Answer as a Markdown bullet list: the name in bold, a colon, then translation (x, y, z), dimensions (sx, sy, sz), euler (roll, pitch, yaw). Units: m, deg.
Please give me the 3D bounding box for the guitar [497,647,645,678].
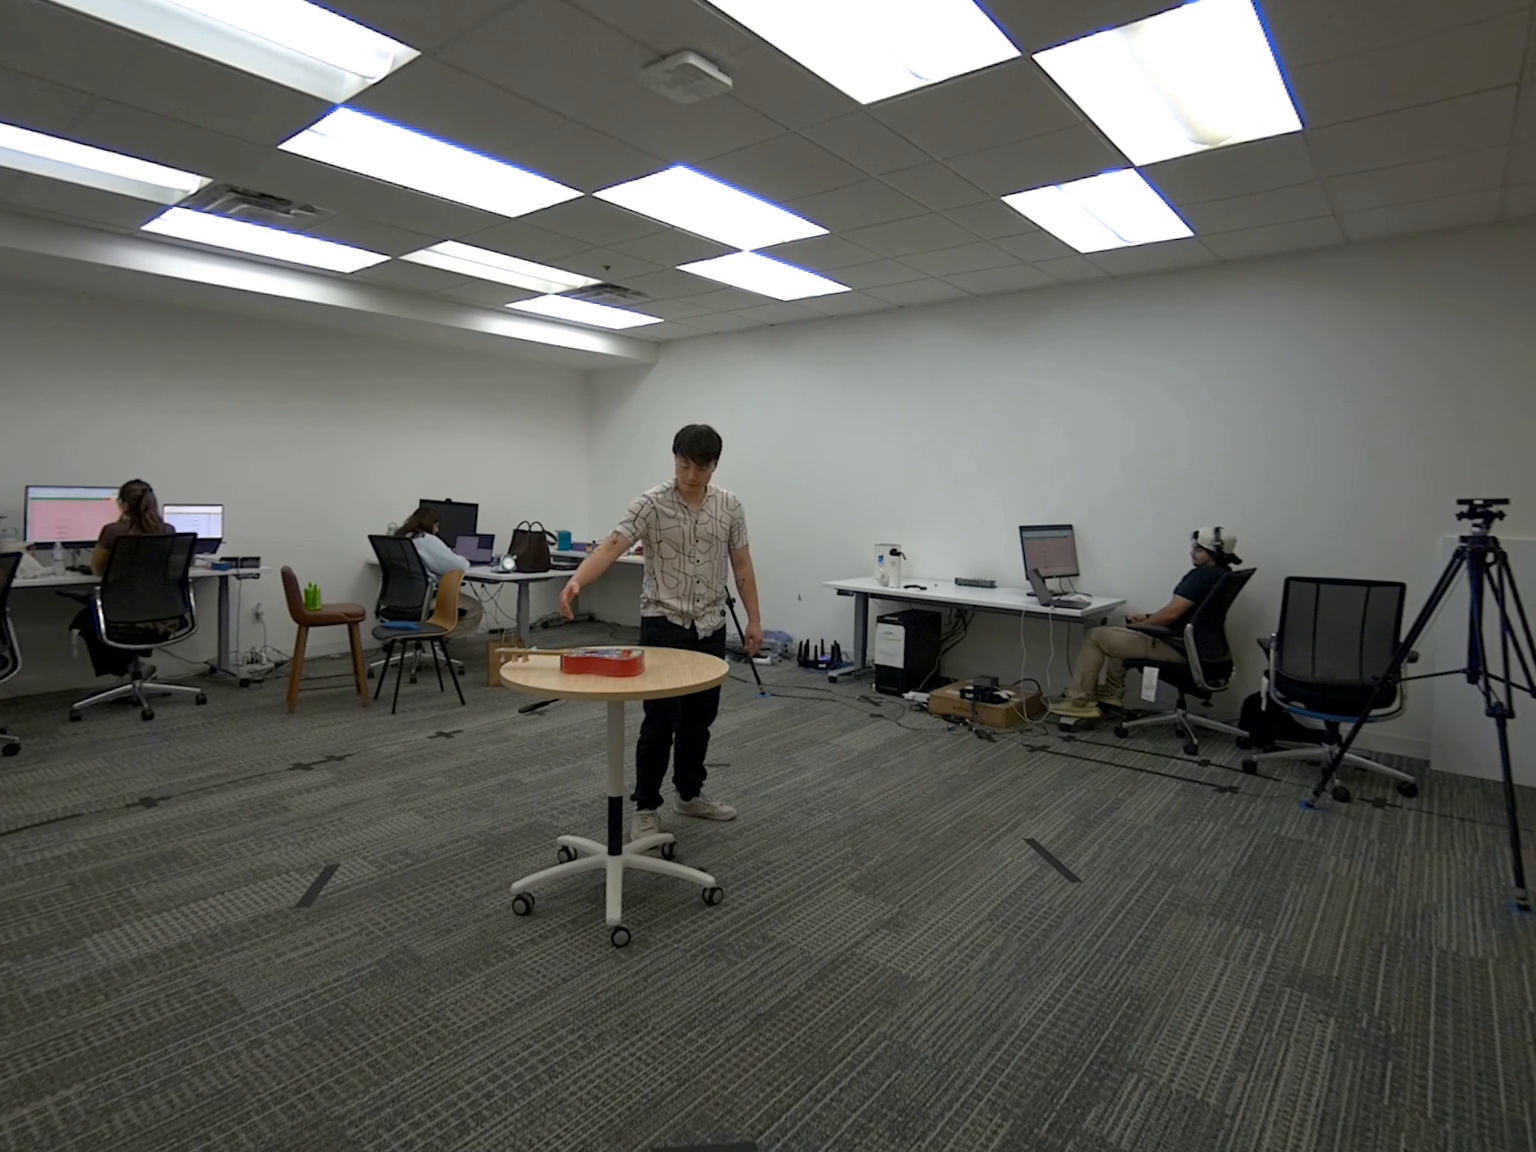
- **guitar**: translation (-0.672, 0.274, 2.837), dimensions (0.507, 0.070, 0.190), euler (3, 6, 16)
